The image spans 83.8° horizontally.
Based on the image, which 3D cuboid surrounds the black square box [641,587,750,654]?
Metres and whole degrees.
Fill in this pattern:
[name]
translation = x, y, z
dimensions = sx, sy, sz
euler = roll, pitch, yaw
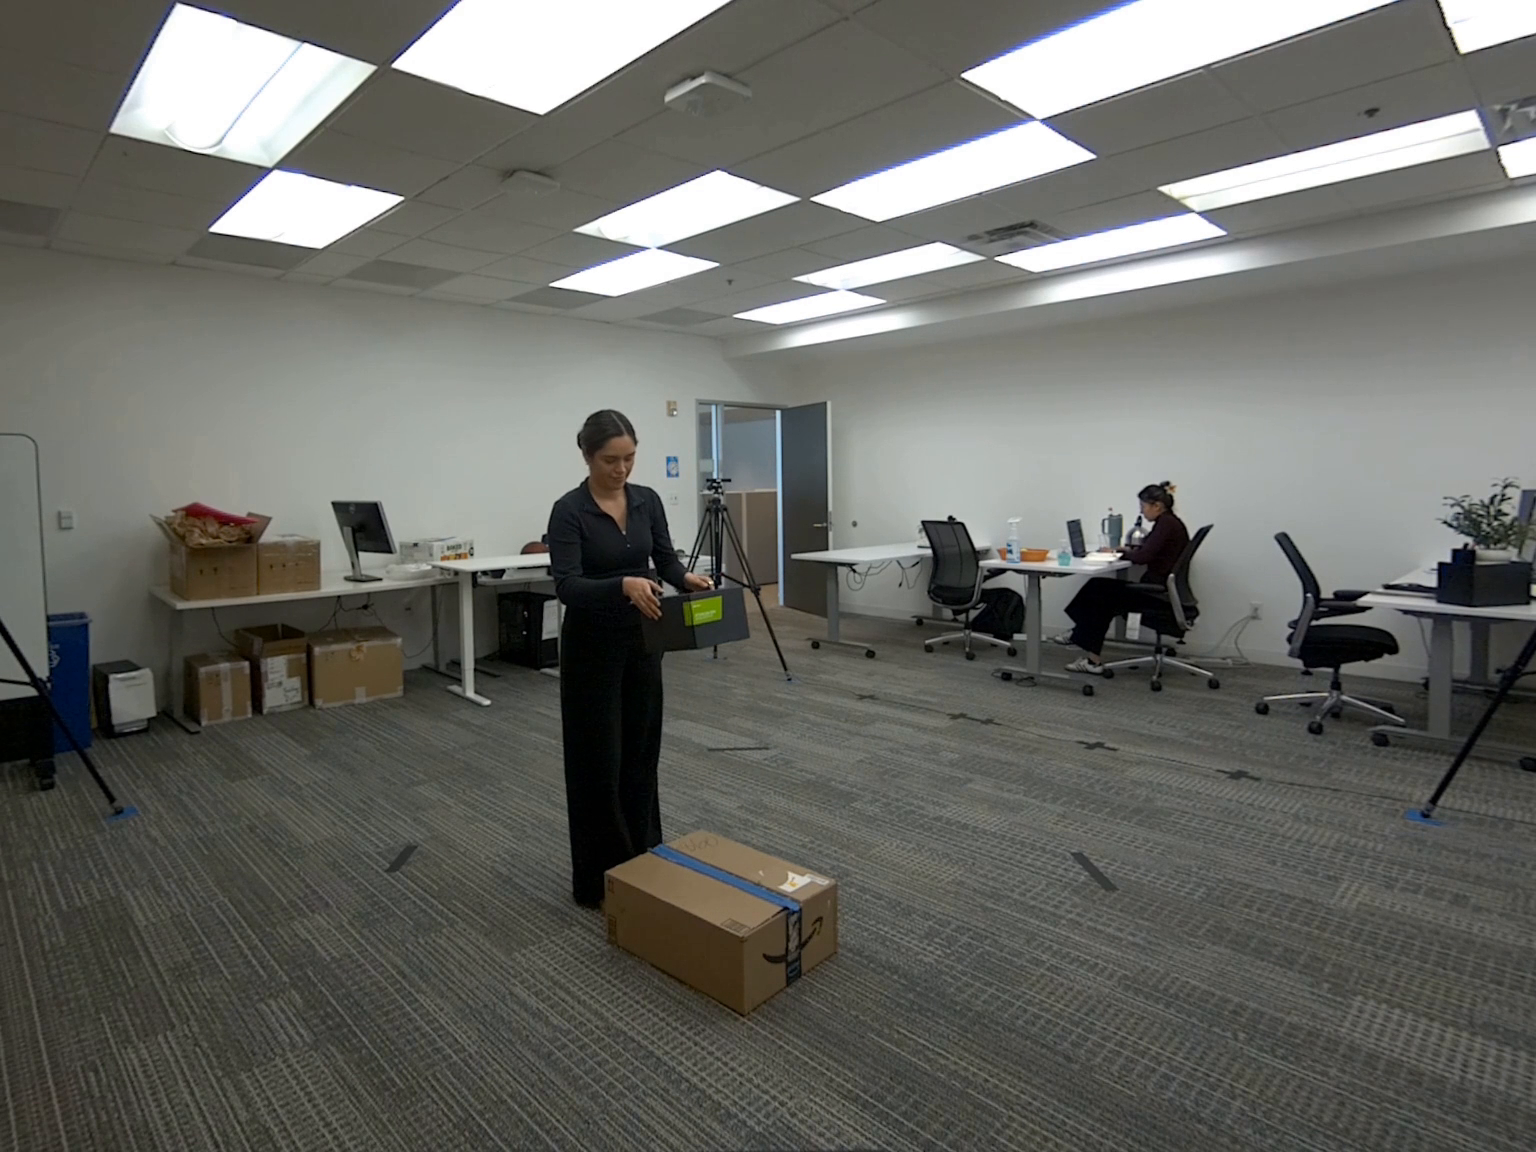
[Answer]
[black square box]
translation = -0.216, 0.131, 2.503
dimensions = 0.222, 0.156, 0.222
euler = -9, -1, 41
